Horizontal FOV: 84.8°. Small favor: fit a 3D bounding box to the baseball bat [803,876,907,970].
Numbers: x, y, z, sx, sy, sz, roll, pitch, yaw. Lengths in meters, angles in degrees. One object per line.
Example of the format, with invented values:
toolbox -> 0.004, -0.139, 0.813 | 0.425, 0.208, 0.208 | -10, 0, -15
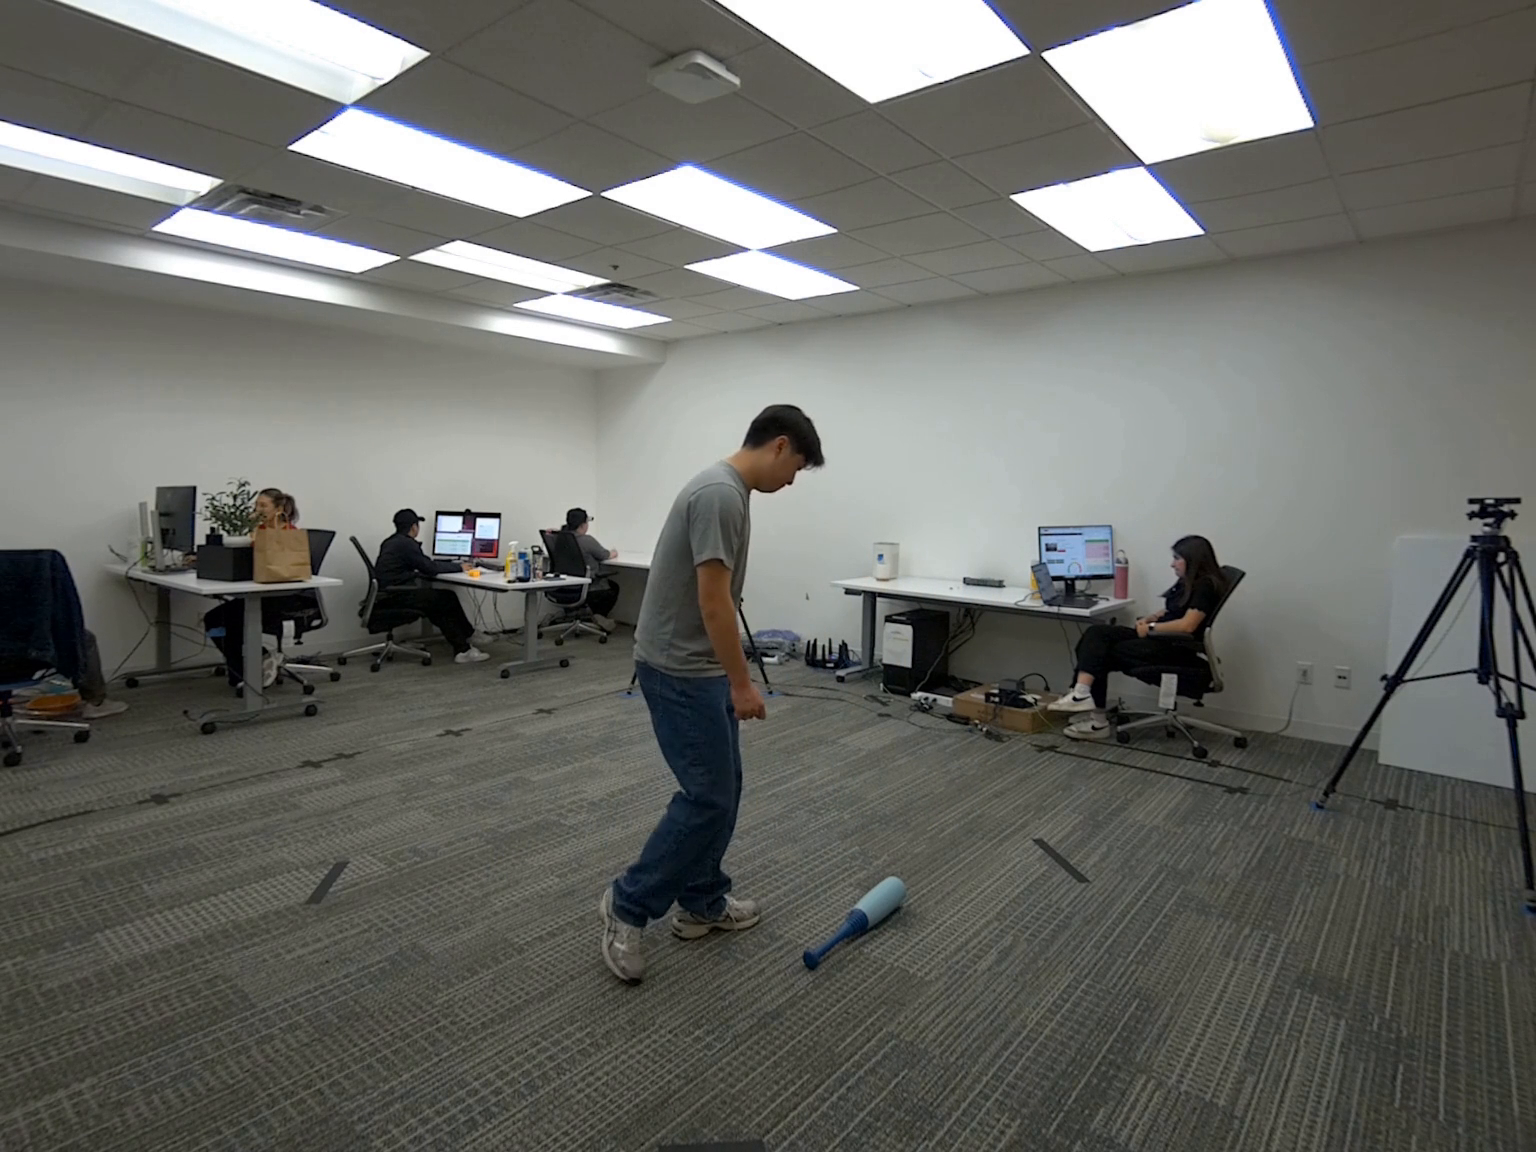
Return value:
baseball bat -> 0.272, 1.088, 2.666 | 0.092, 0.088, 0.529 | 4, 10, 37
